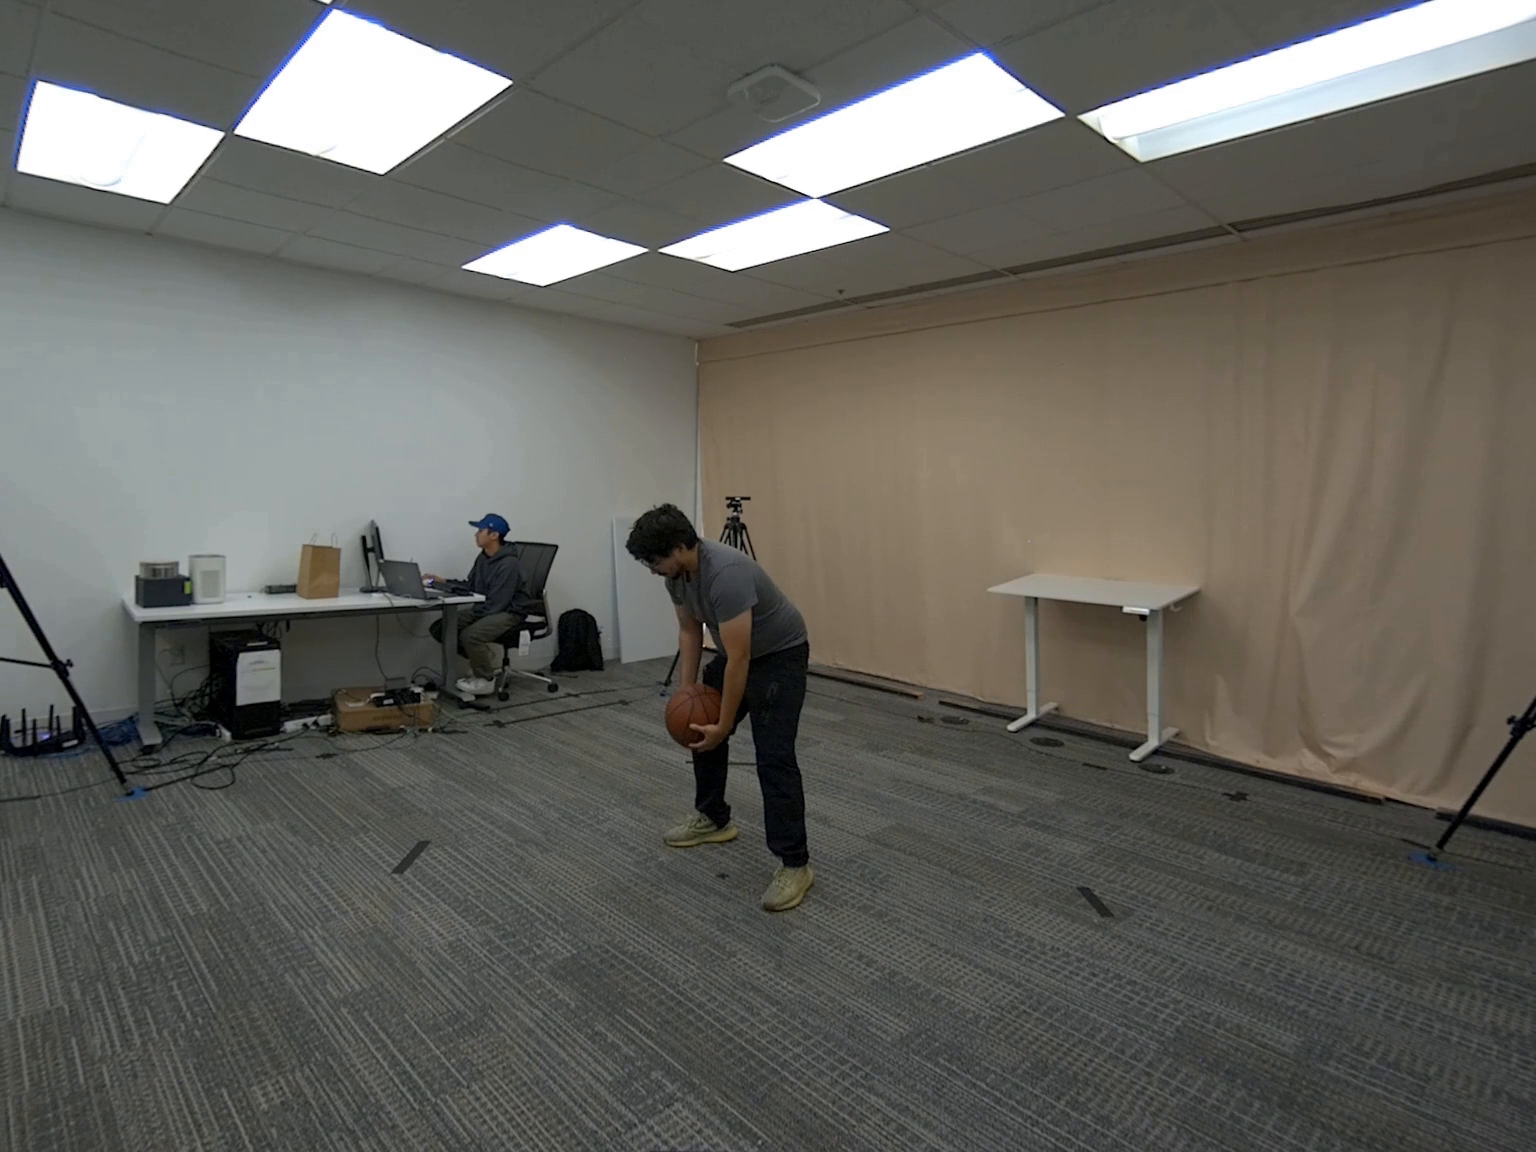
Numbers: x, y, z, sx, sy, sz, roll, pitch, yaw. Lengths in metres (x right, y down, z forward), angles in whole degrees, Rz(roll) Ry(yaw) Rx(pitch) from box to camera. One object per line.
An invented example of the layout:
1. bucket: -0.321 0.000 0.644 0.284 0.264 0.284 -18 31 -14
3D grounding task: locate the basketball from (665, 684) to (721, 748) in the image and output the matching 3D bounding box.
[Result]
1. basketball: -0.268 0.516 3.108 0.236 0.235 0.237 1 4 -1
